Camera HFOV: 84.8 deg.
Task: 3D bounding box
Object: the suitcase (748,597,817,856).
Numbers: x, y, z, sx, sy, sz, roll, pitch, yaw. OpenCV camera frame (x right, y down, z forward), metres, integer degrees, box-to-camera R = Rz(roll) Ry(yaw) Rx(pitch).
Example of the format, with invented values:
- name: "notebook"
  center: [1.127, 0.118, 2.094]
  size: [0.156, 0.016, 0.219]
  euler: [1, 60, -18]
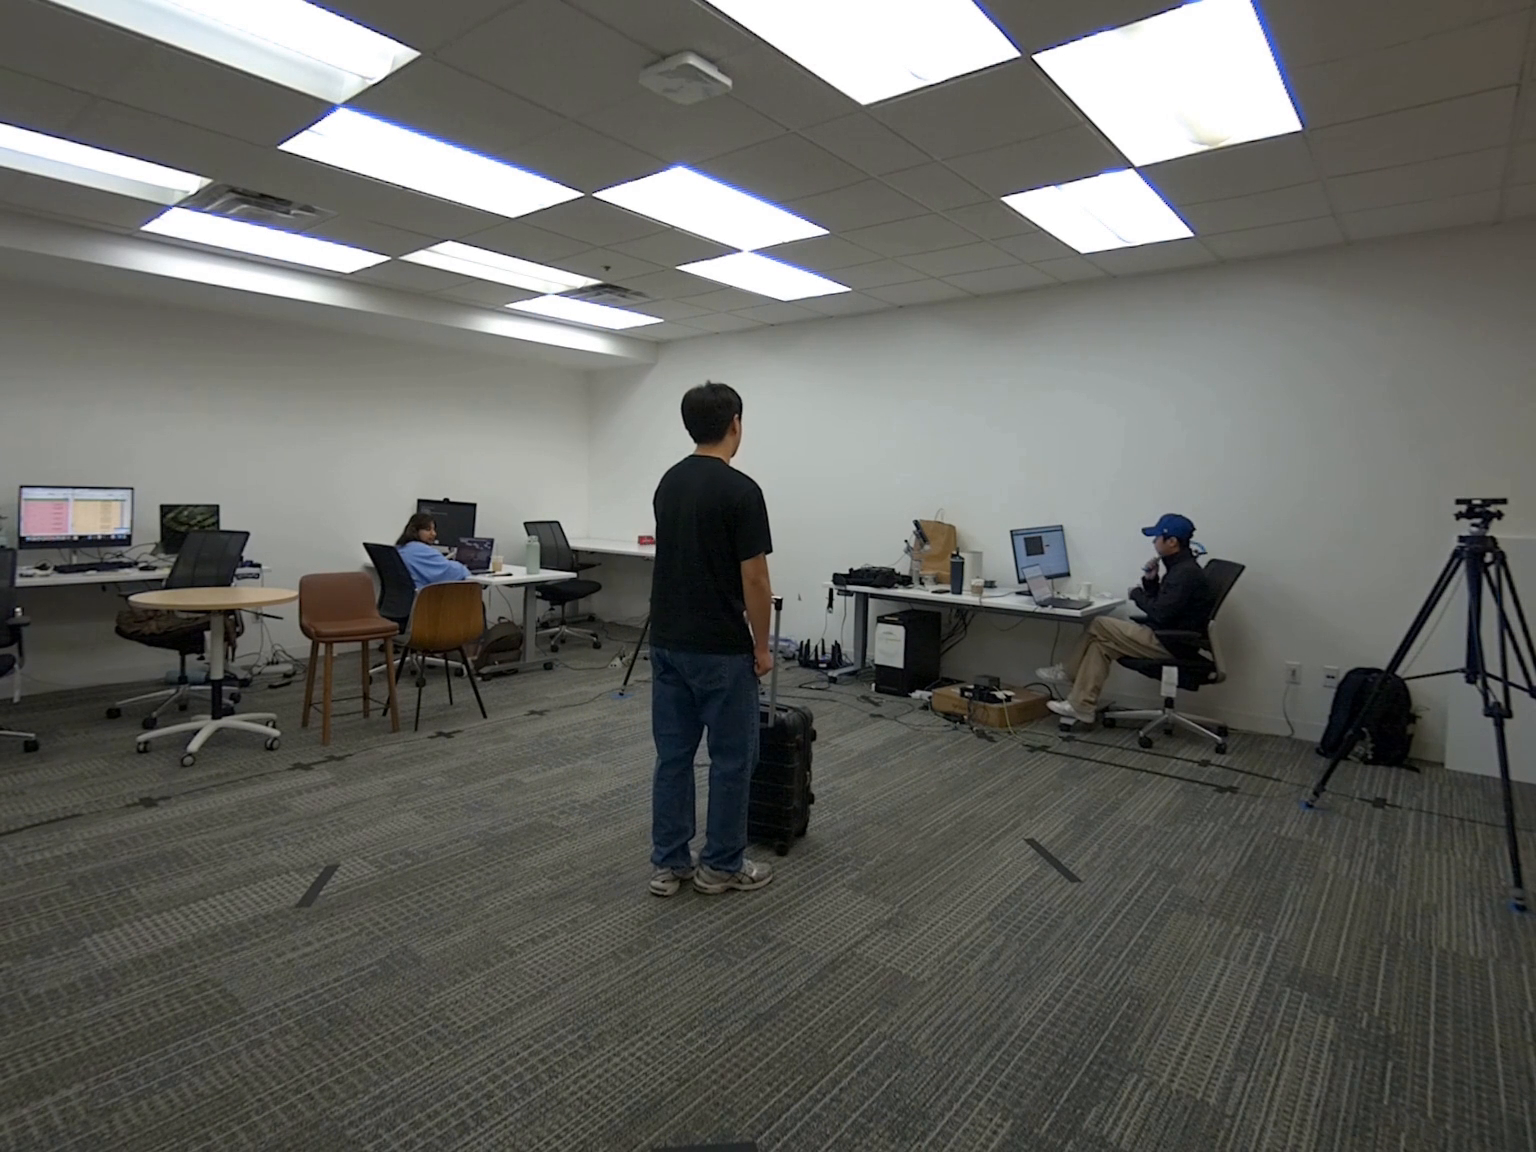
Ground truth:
- name: "suitcase"
  center: [-0.011, 0.566, 3.401]
  size: [0.394, 0.978, 0.251]
  euler: [4, 0, 23]
